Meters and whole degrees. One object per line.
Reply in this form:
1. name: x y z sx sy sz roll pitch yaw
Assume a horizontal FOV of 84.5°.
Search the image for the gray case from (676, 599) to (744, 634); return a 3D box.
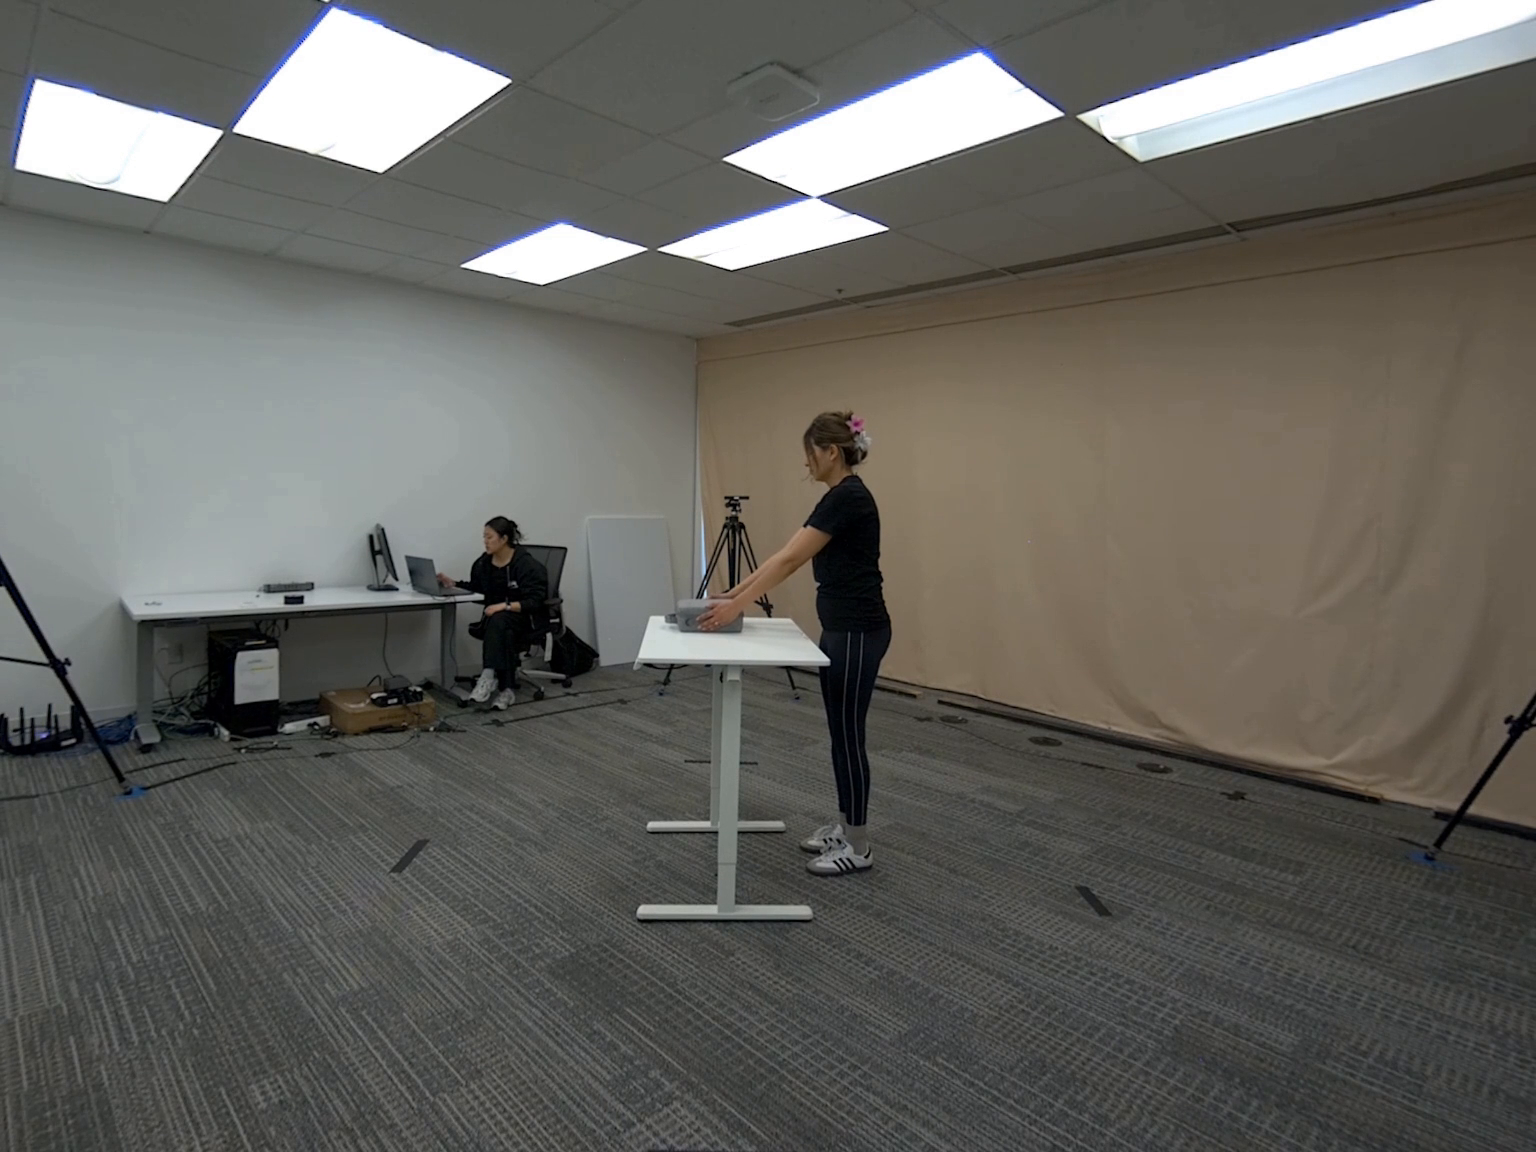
1. gray case: -0.238 0.156 3.278 0.259 0.104 0.259 0 5 -6
